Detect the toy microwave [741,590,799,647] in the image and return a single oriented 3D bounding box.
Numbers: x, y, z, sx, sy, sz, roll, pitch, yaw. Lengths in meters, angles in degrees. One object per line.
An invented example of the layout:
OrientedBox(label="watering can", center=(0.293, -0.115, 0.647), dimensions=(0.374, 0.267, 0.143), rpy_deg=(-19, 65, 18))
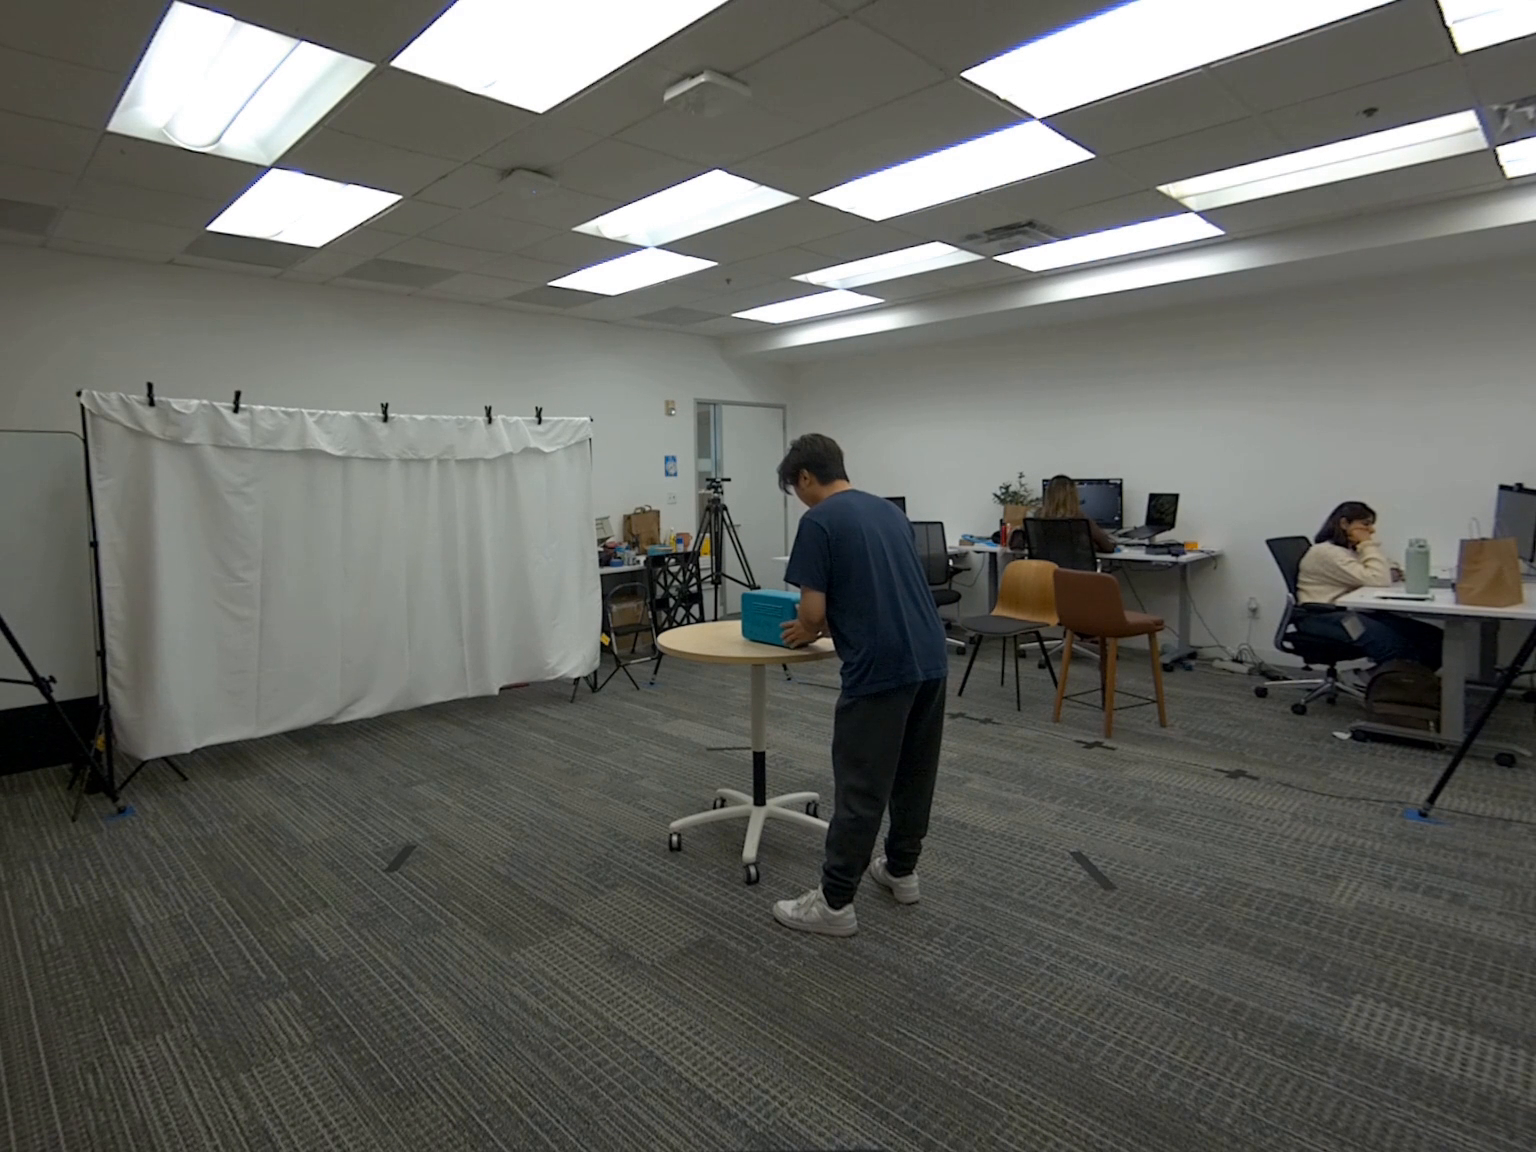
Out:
OrientedBox(label="toy microwave", center=(0.046, 0.151, 3.127), dimensions=(0.148, 0.183, 0.295), rpy_deg=(-5, 7, -42))
